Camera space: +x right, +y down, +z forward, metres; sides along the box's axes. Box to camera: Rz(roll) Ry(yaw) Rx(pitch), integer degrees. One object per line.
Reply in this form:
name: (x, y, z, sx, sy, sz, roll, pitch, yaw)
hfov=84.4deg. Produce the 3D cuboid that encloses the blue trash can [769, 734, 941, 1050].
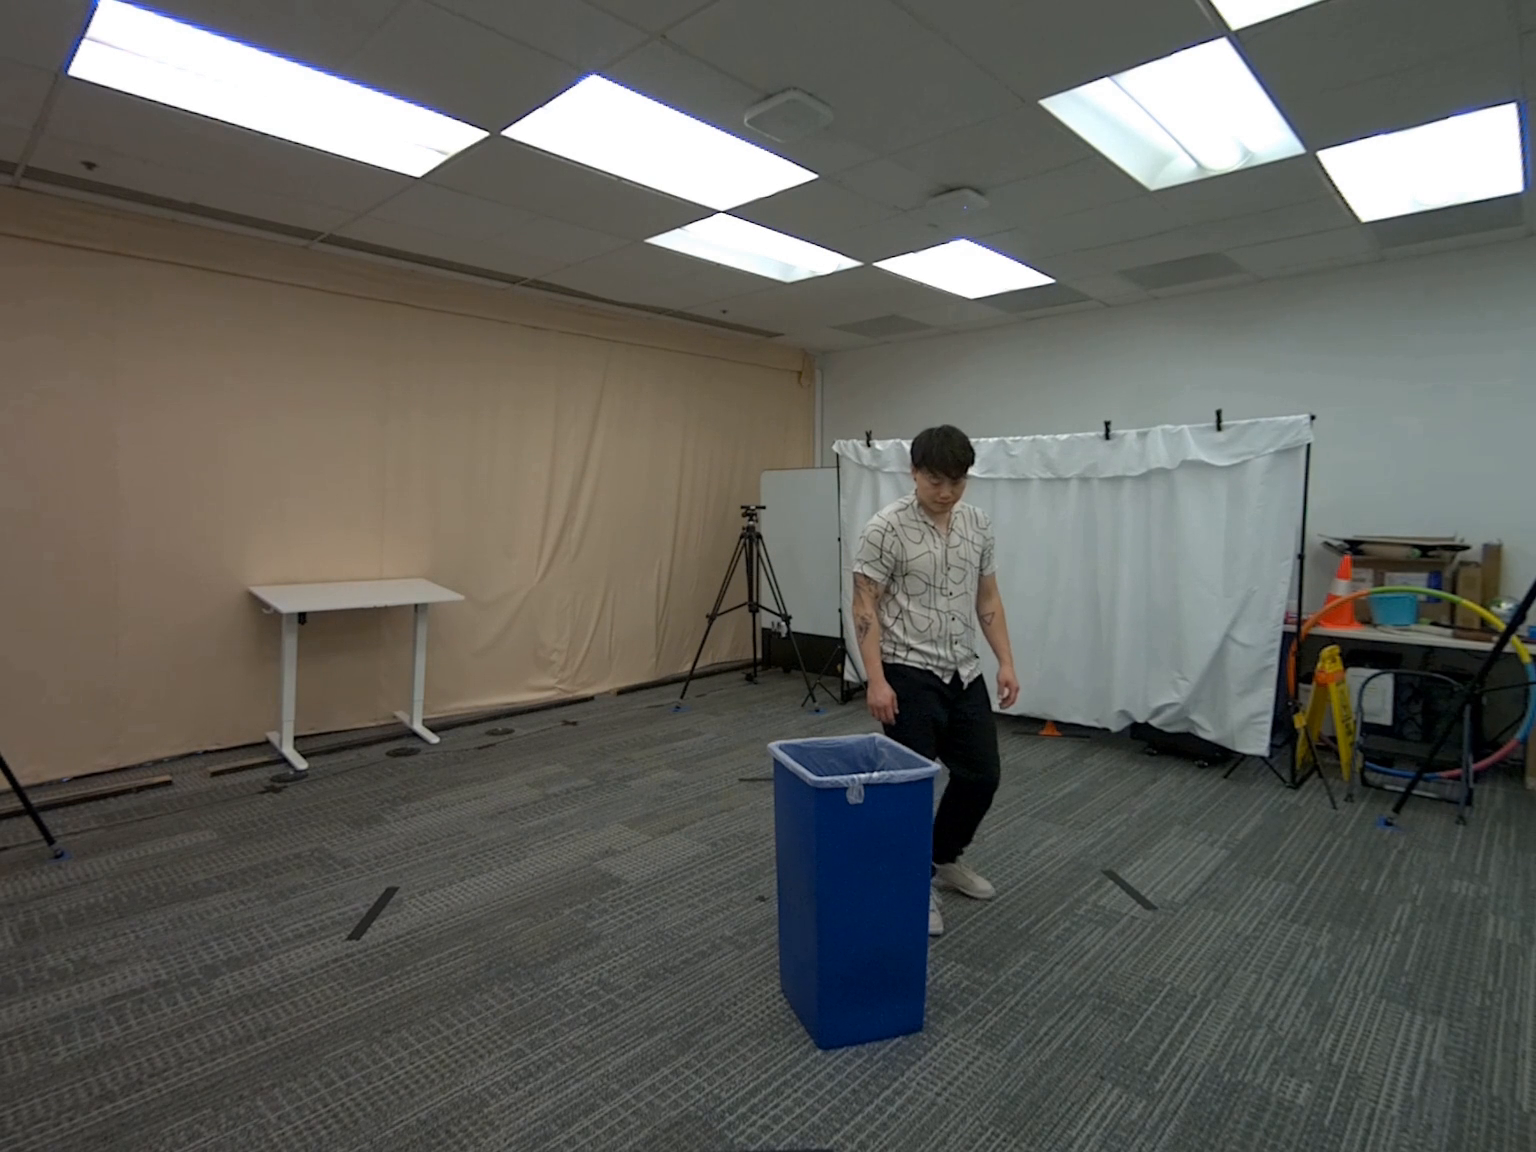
blue trash can: (0.223, 0.843, 2.316, 0.371, 0.712, 0.382, -1, 3, -19)
